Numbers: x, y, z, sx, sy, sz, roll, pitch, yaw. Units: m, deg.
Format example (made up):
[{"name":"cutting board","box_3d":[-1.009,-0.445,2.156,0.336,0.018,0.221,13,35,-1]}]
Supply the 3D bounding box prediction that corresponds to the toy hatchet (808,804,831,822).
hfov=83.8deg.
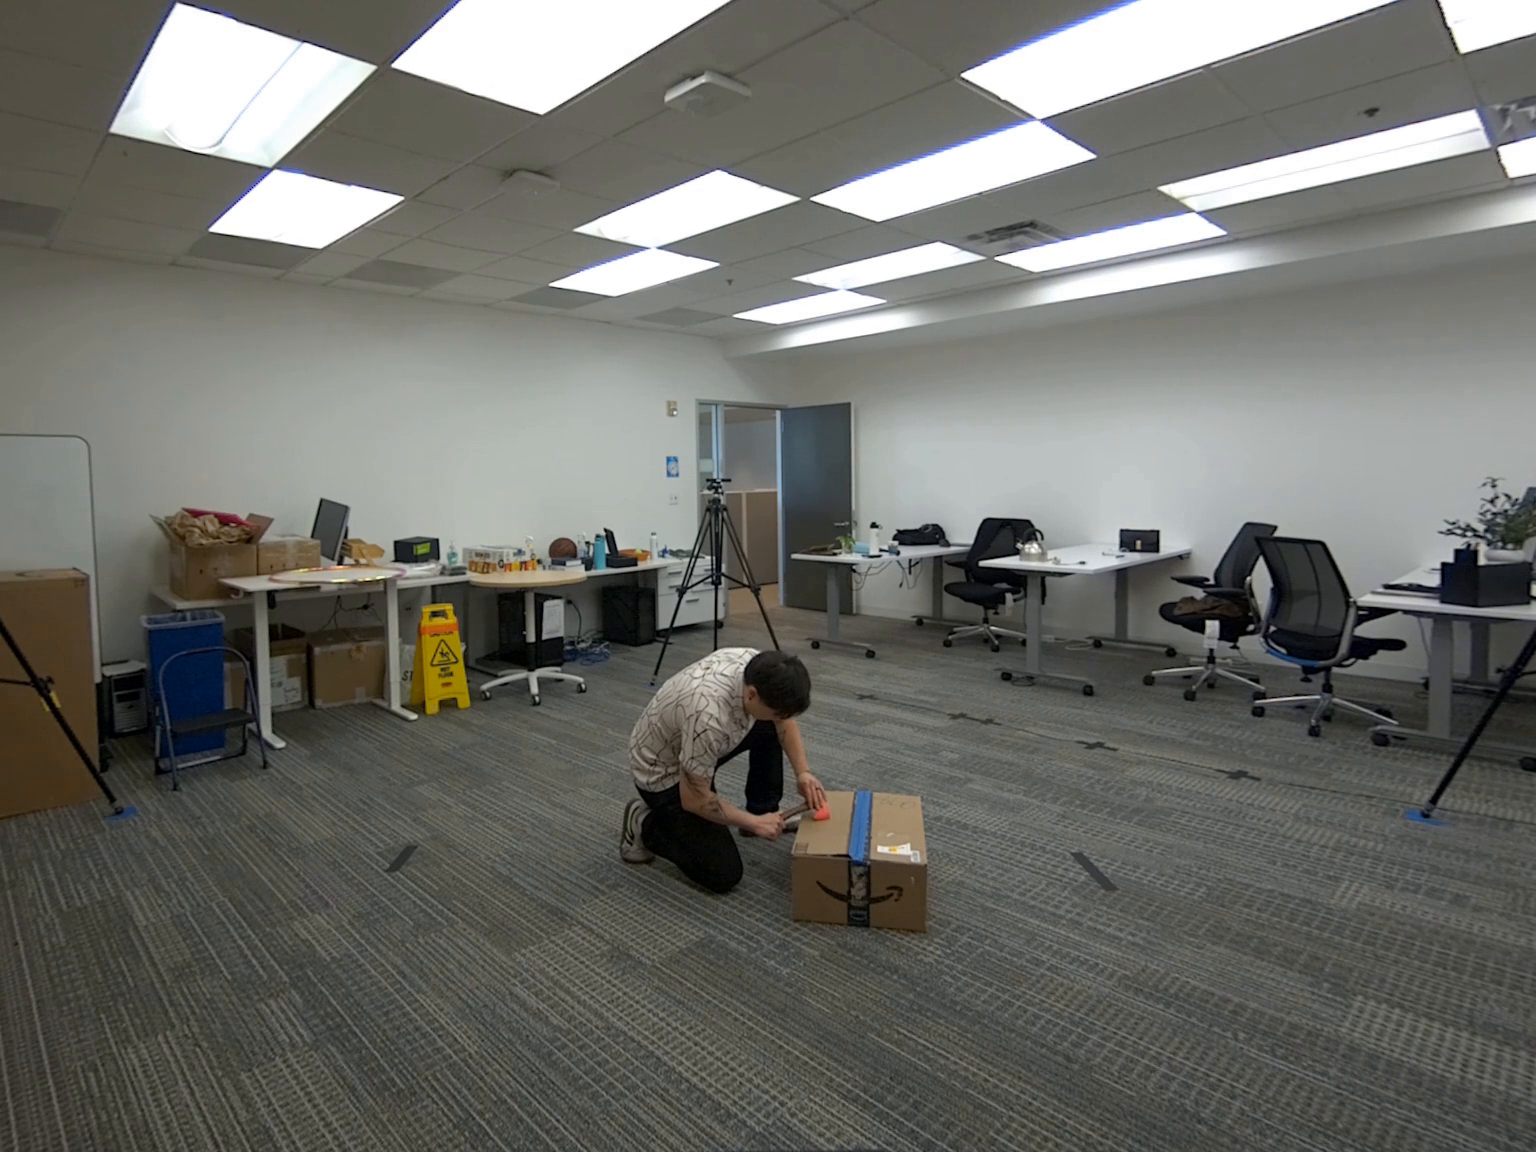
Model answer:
[{"name":"toy hatchet","box_3d":[0.105,0.839,2.934,0.136,0.029,0.266,31,43,33]}]
